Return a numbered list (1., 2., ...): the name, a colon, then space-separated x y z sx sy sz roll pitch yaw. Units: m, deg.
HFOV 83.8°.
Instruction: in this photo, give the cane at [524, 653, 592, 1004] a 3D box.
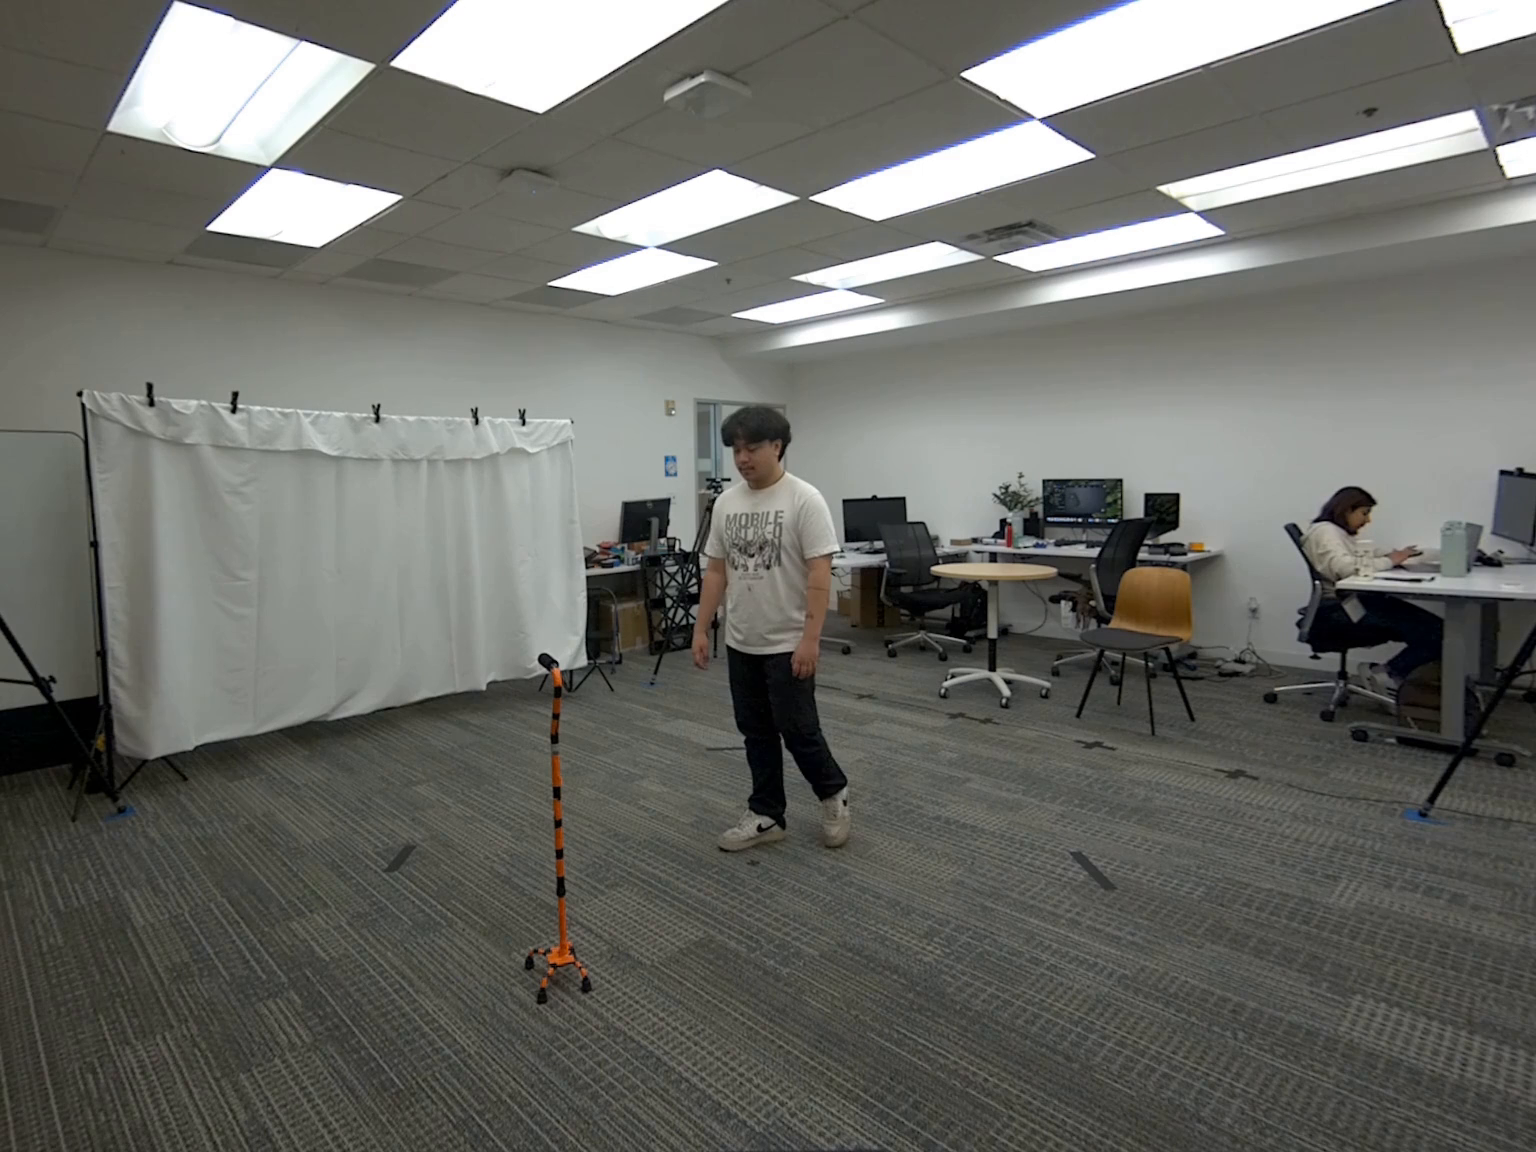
1. cane: -0.599 0.688 2.384 0.148 0.905 0.211 -3 4 -25
